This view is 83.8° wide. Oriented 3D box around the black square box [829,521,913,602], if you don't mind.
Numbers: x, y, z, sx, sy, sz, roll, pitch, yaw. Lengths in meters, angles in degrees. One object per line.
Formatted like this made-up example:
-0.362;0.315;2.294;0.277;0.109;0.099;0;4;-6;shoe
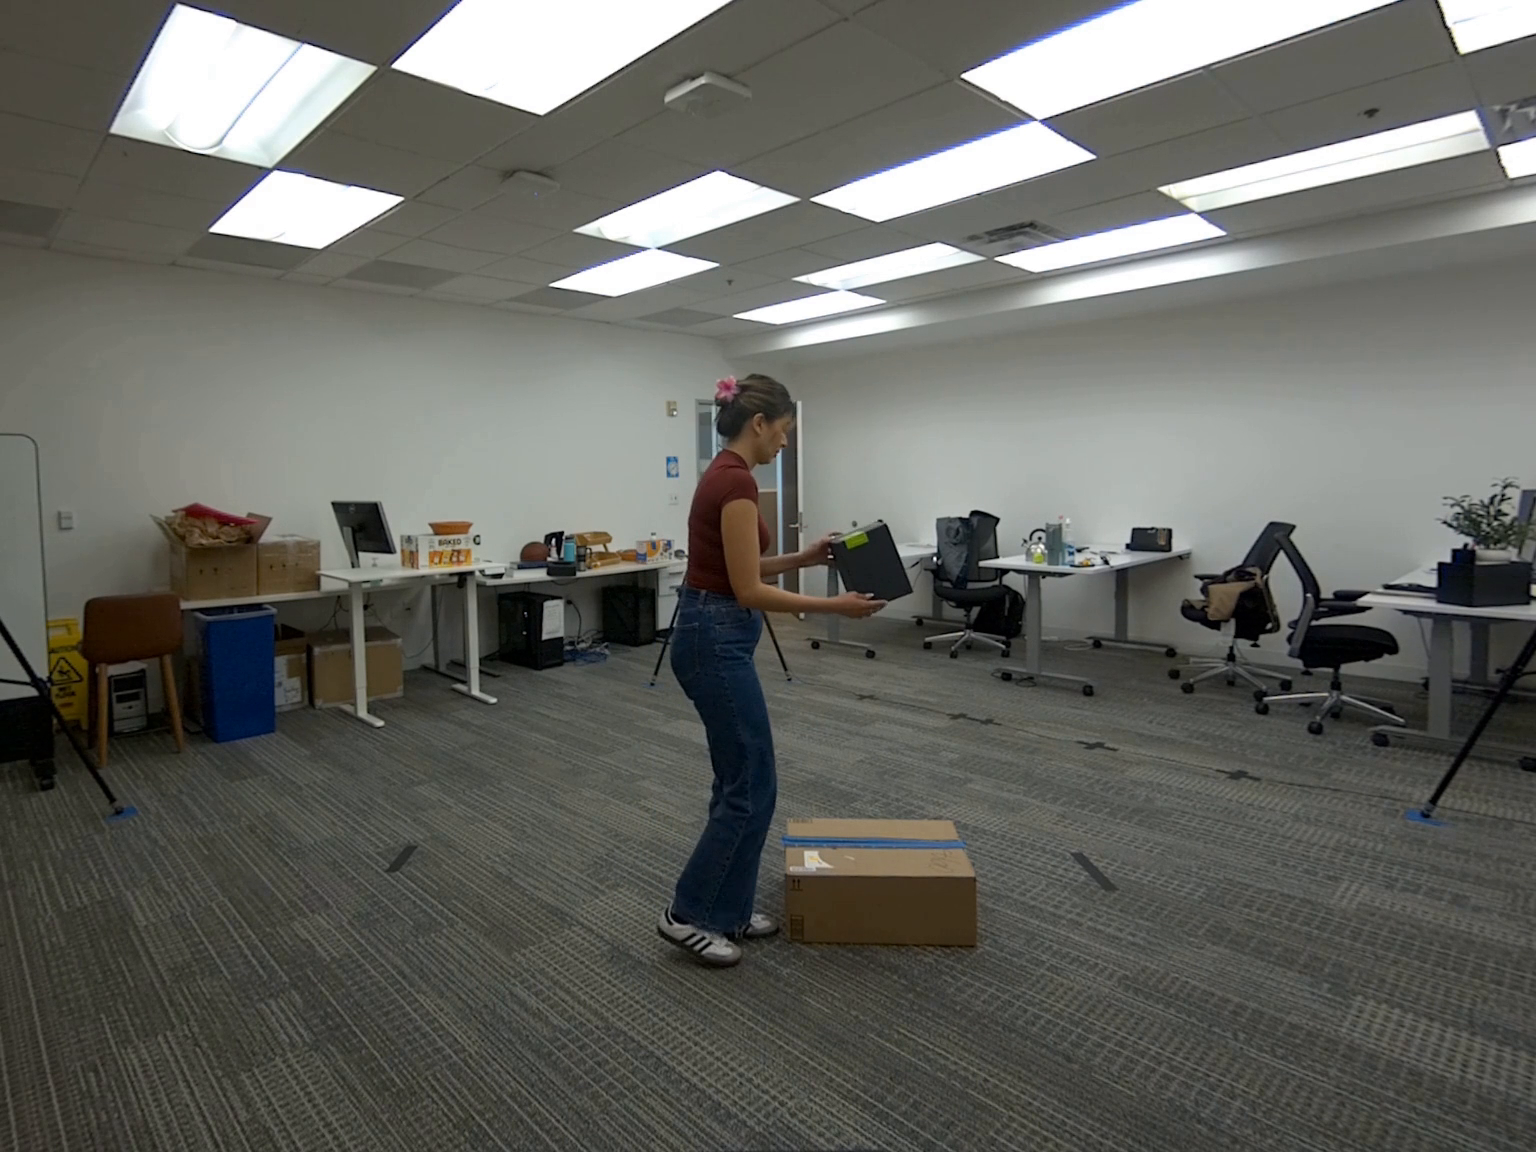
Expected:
0.286;-0.029;2.569;0.155;0.216;0.229;-16;3;-5;black square box
